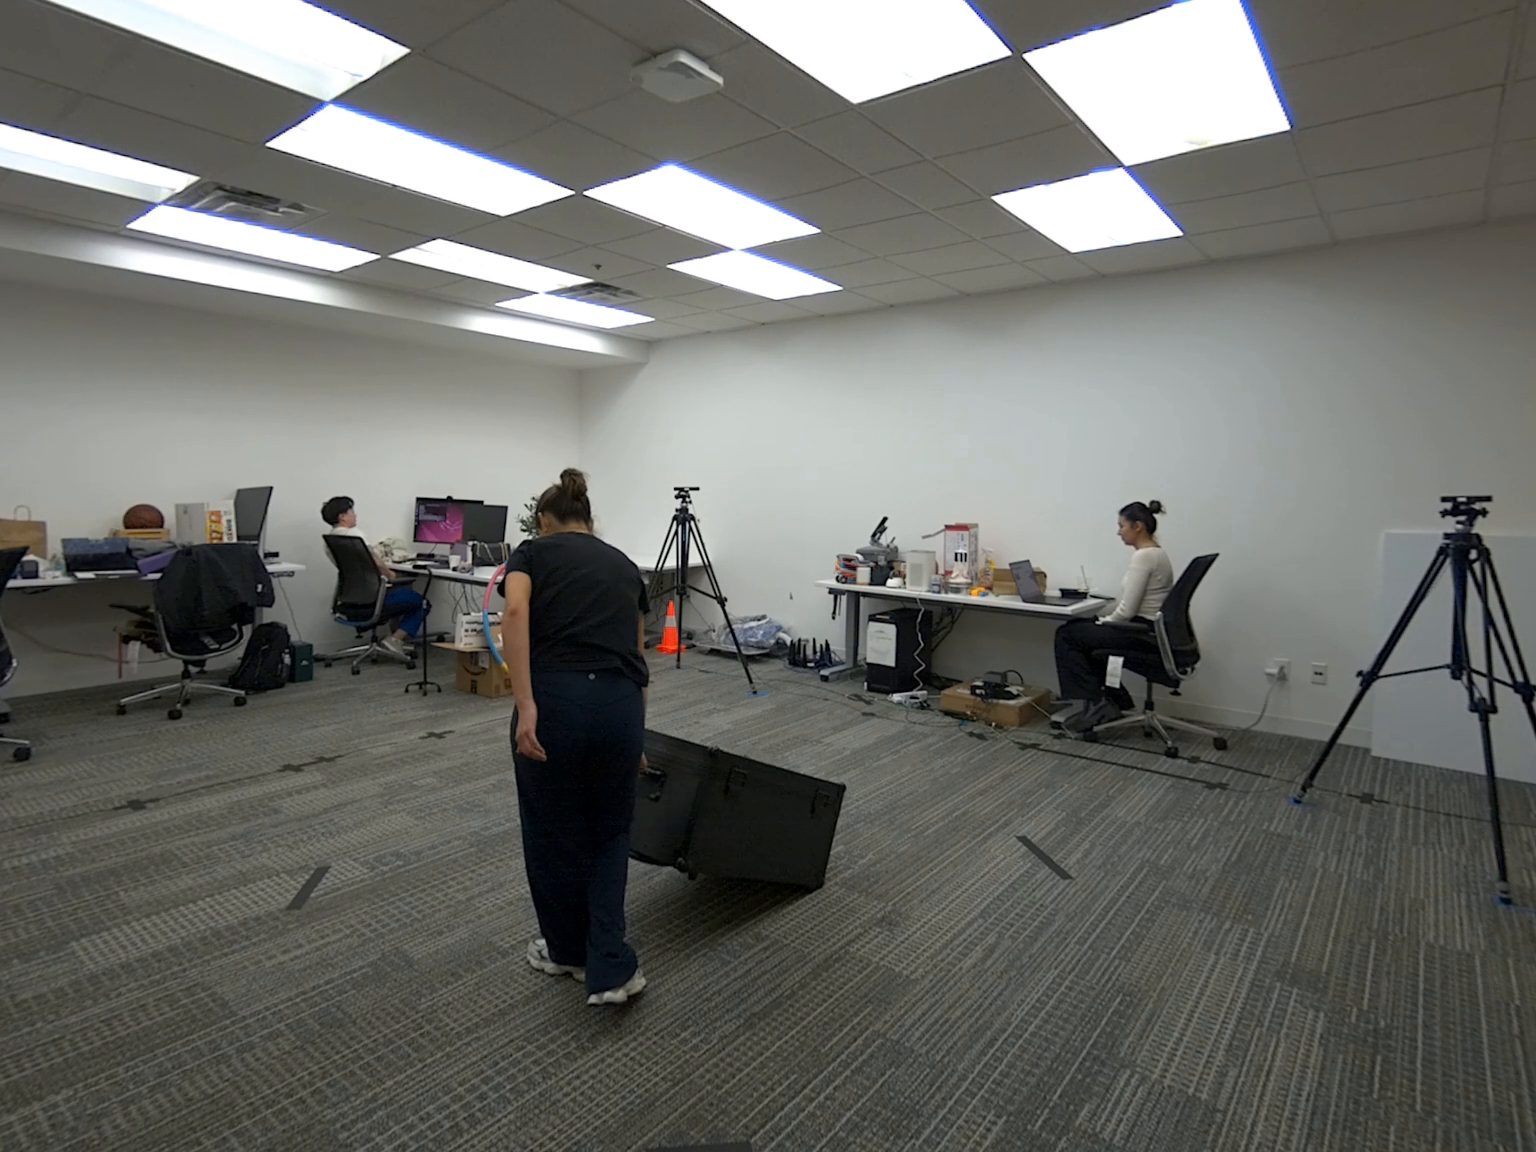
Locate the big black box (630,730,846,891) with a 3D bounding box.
[{"bbox_3d":[-0.134,0.795,2.930,0.539,0.399,0.826,5,-15,40],"label":"big black box"}]
